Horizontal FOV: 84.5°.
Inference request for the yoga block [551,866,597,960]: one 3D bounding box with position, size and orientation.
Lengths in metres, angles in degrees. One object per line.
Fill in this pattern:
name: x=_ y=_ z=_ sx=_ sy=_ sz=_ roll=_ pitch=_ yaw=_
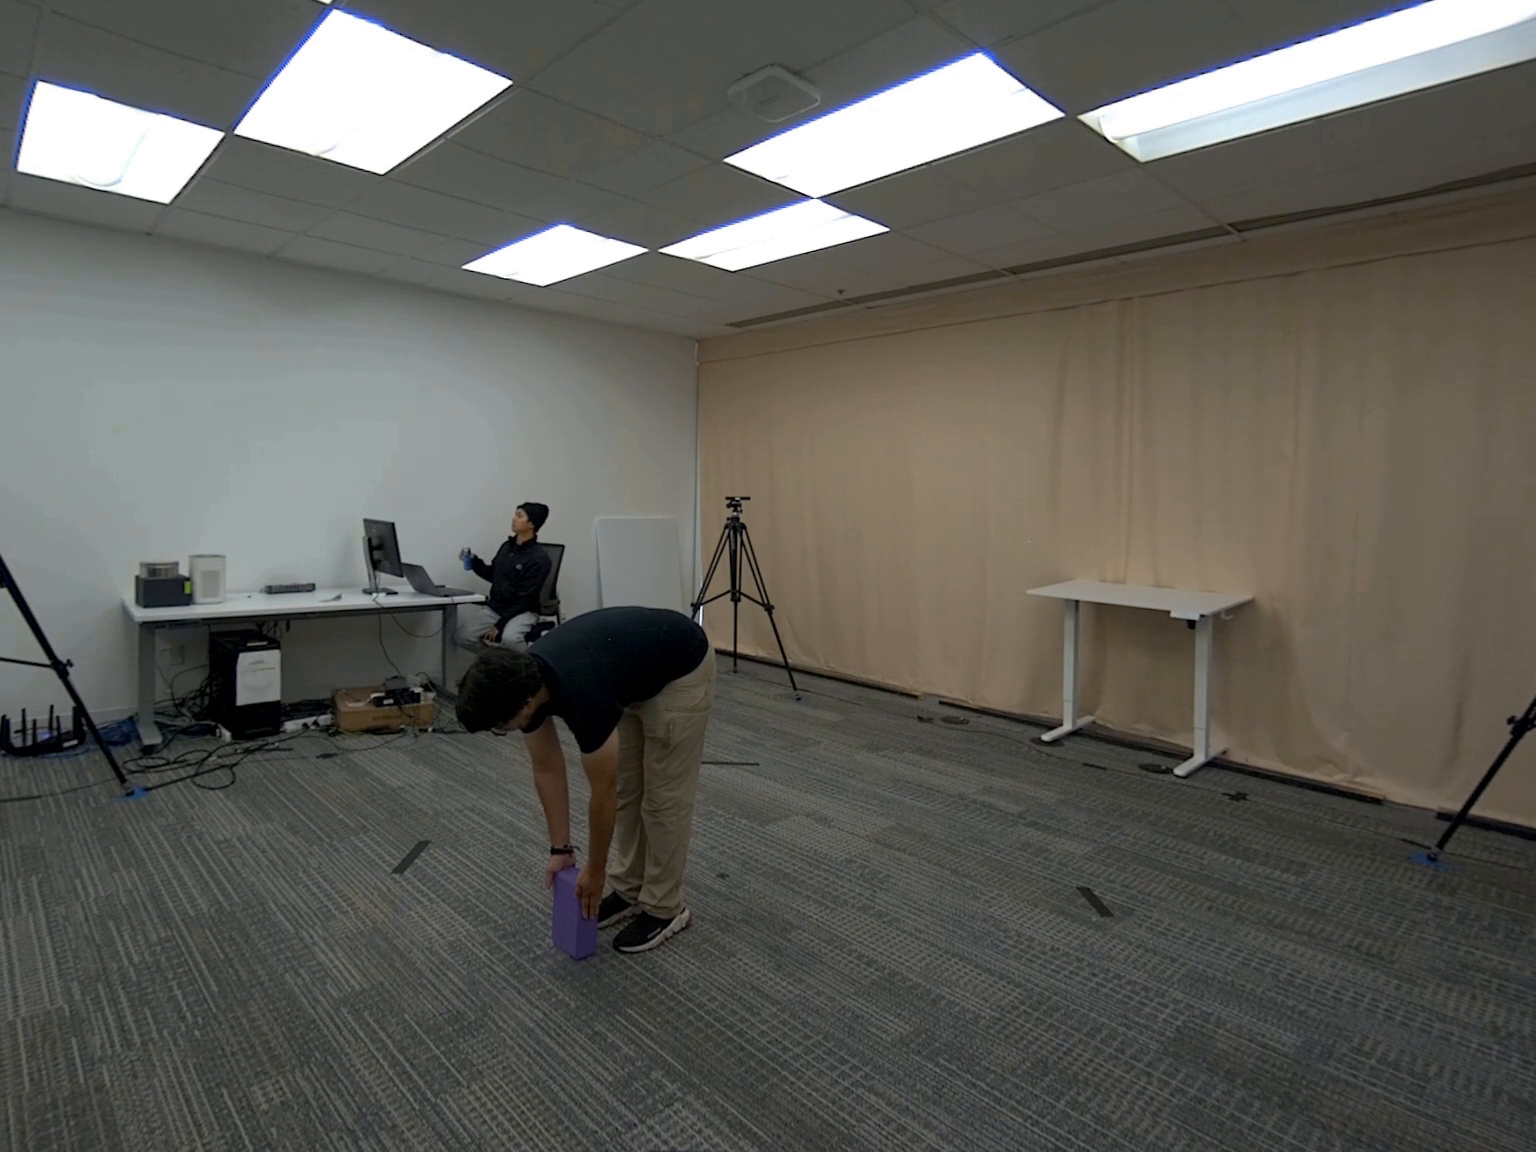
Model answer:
yoga block: x=-0.598 y=1.032 z=2.571 sx=0.075 sy=0.229 sz=0.153 roll=-2 pitch=4 yaw=-42
